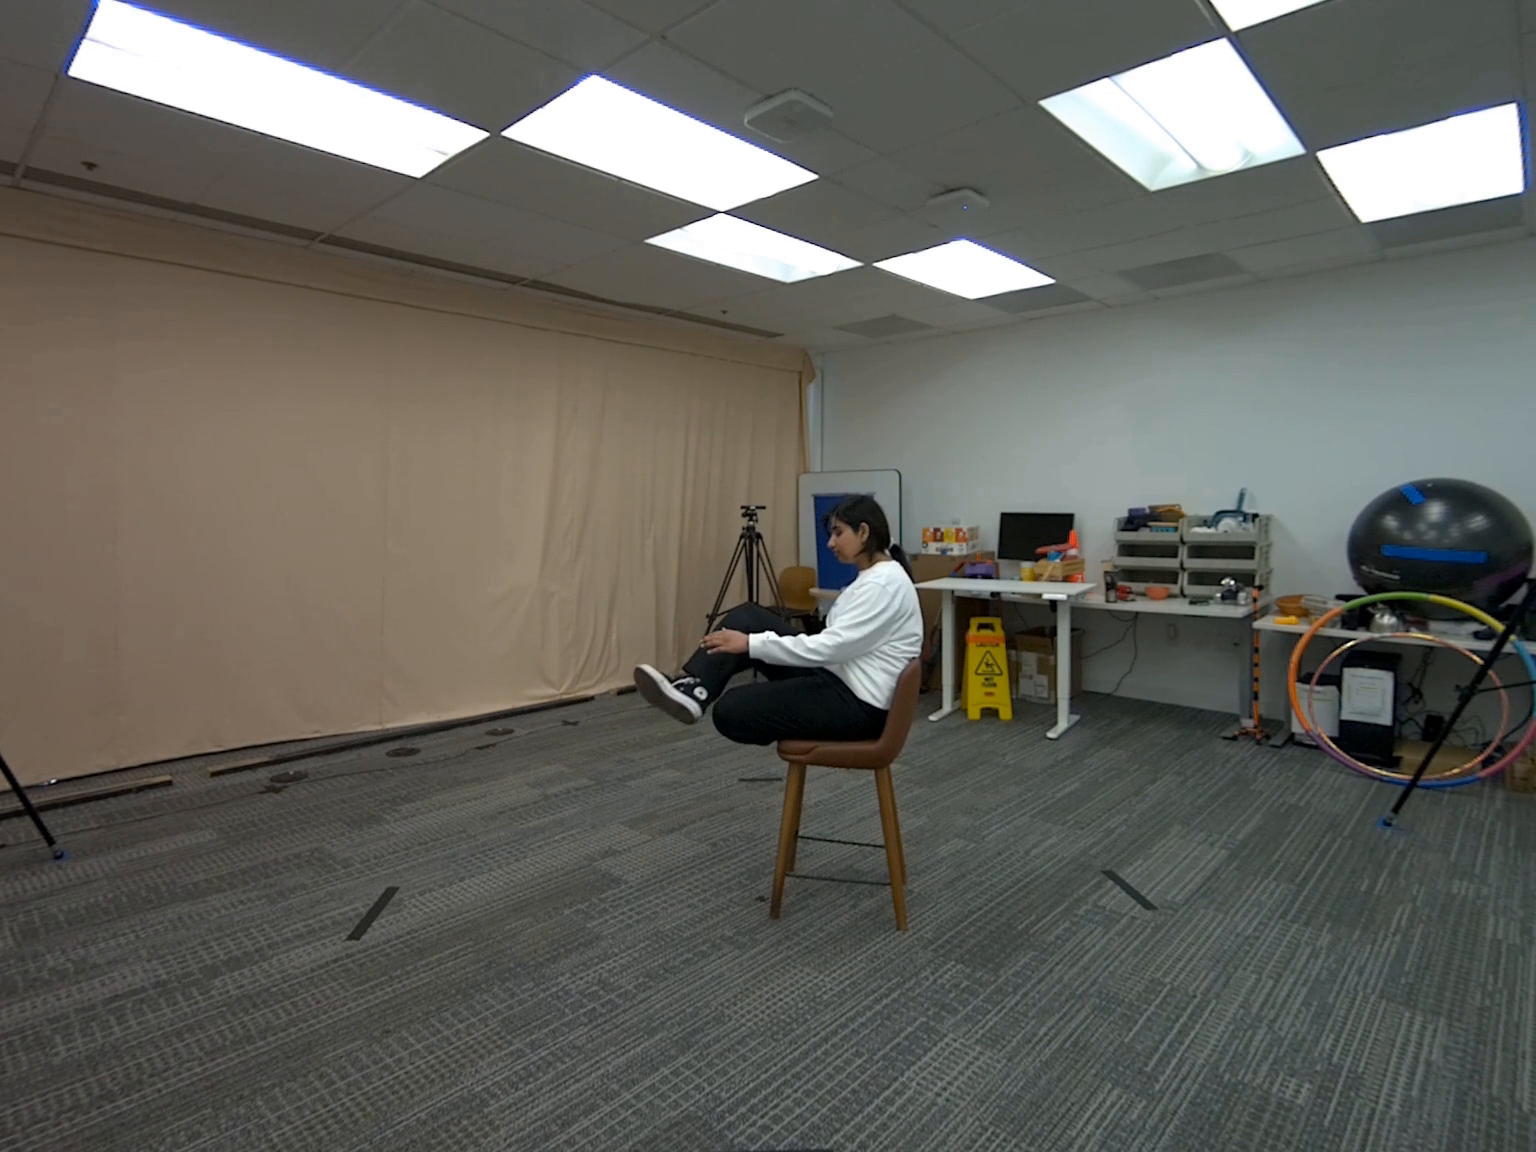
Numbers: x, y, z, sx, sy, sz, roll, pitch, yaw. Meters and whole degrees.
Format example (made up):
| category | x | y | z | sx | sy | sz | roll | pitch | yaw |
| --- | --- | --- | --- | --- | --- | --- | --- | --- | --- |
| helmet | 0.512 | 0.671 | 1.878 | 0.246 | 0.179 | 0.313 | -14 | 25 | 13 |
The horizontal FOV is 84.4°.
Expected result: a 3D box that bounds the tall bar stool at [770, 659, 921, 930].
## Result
| category | x | y | z | sx | sy | sz | roll | pitch | yaw |
| --- | --- | --- | --- | --- | --- | --- | --- | --- | --- |
| tall bar stool | 0.278 | 0.715 | 2.957 | 0.474 | 0.888 | 0.451 | 3 | 3 | 12 |
